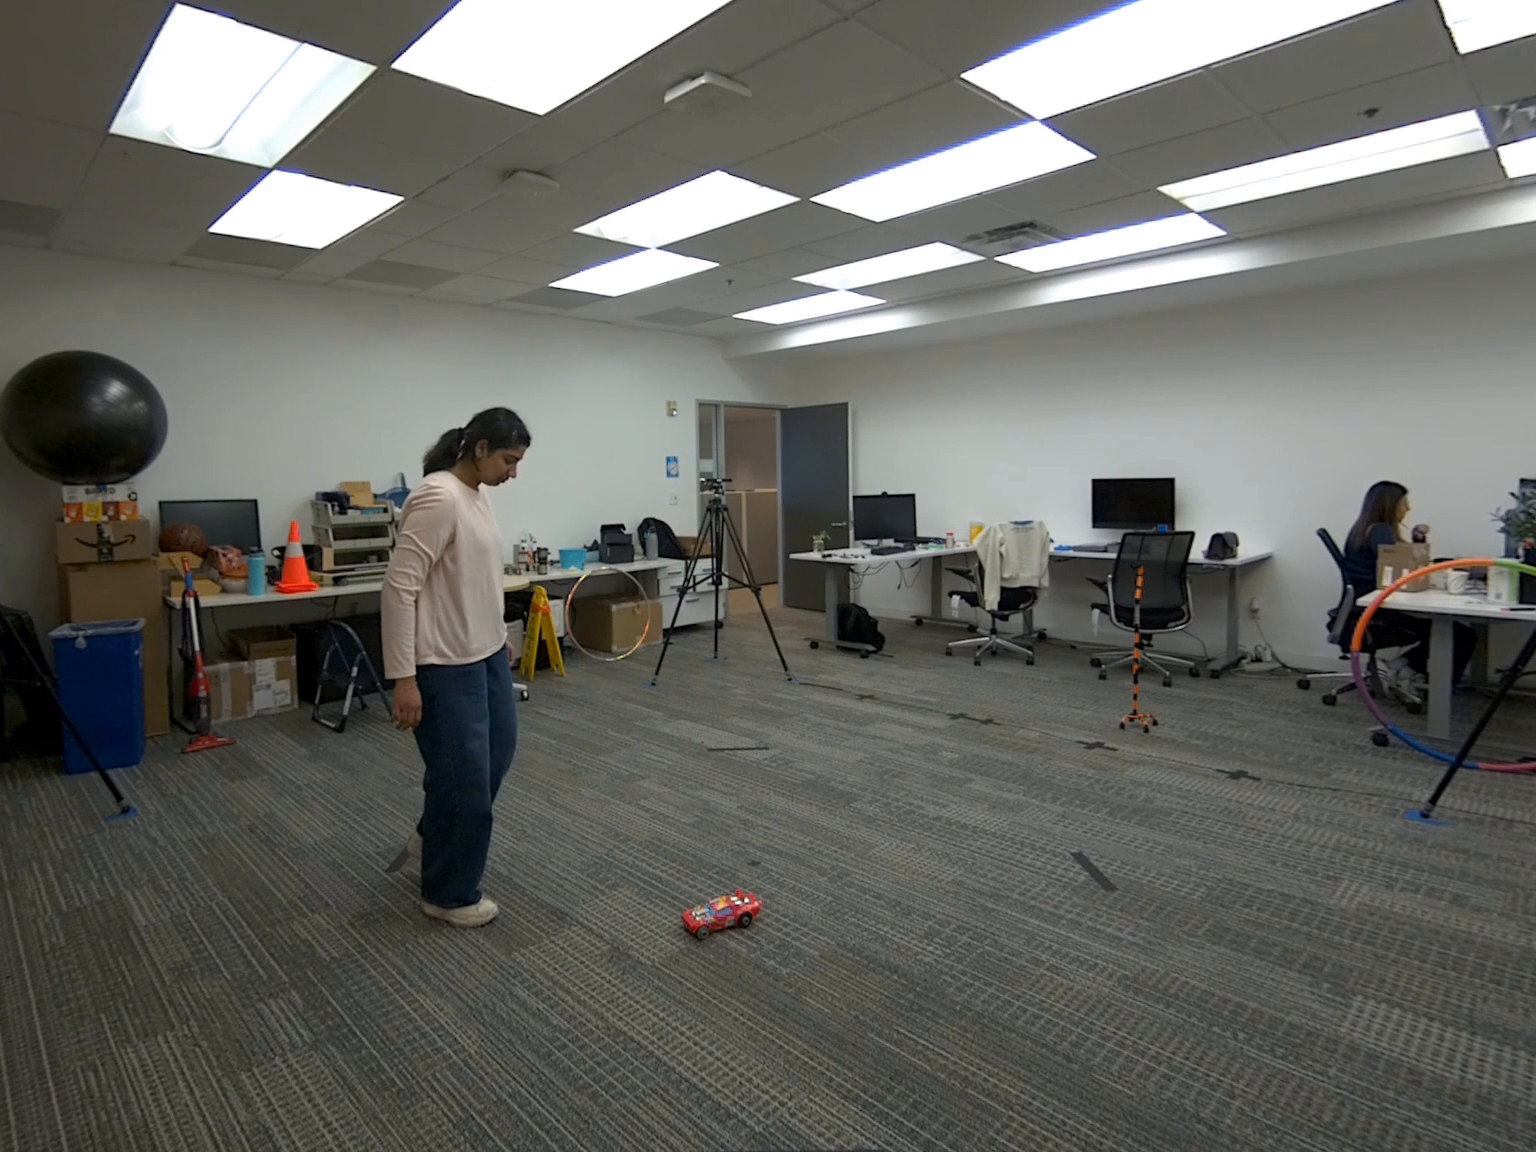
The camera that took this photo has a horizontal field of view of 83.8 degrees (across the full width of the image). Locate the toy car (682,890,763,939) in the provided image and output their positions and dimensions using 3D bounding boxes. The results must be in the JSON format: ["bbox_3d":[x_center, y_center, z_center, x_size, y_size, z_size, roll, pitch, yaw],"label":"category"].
[{"bbox_3d":[-0.135,1.057,2.677,0.250,0.082,0.134,-17,12,-25],"label":"toy car"}]
